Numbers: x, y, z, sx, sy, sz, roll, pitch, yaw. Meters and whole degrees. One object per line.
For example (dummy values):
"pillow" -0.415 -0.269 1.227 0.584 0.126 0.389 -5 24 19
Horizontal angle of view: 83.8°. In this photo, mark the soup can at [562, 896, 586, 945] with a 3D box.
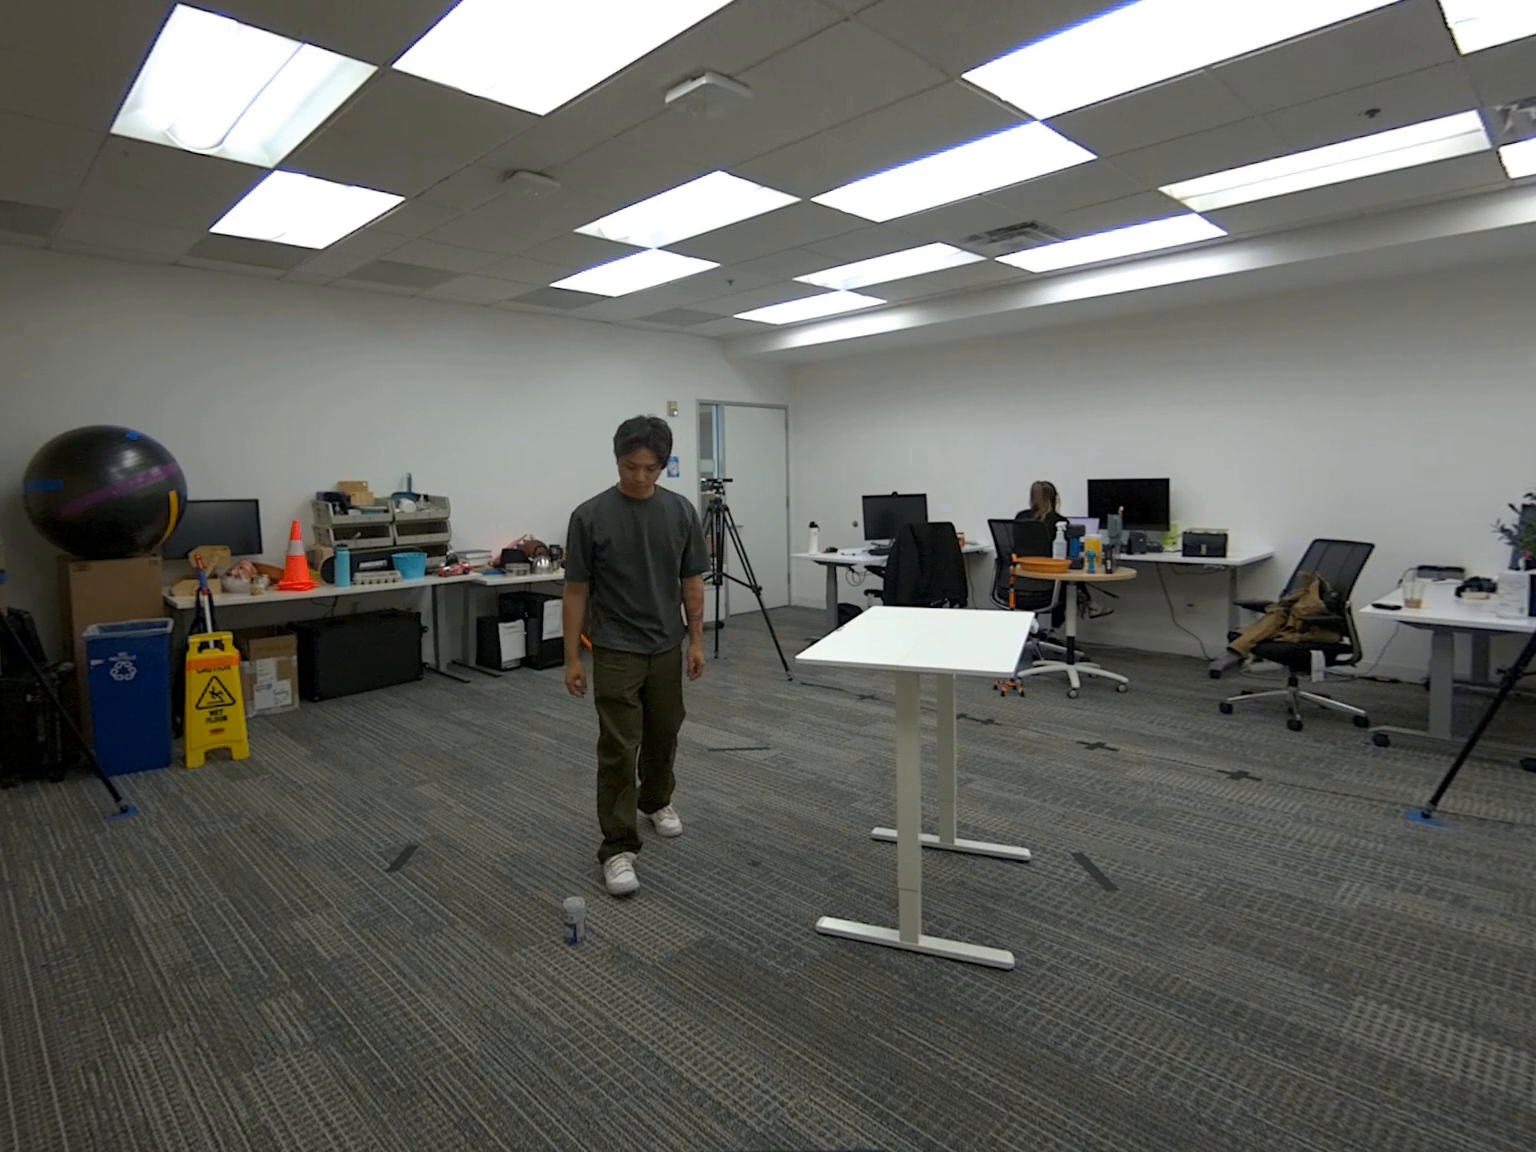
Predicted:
"soup can" -0.587 1.058 2.614 0.067 0.121 0.067 -2 5 -2
